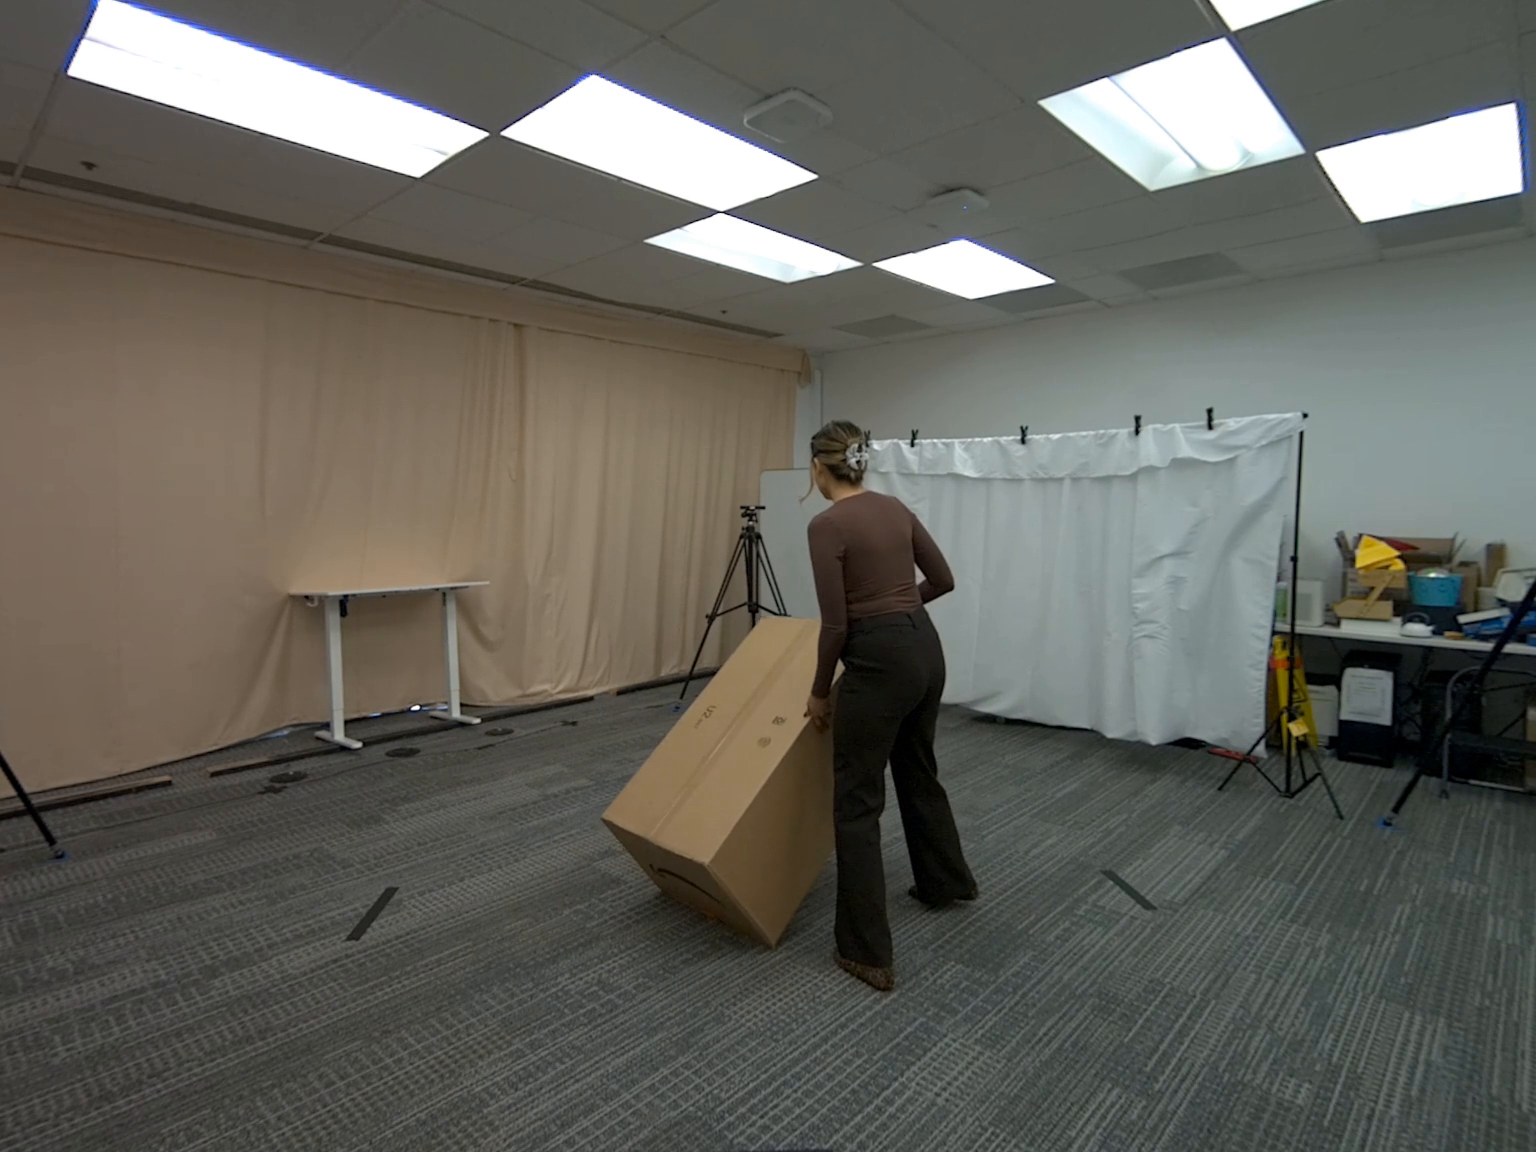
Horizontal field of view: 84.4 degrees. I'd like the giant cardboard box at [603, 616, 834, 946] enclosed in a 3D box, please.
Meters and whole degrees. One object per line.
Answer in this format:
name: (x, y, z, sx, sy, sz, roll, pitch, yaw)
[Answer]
giant cardboard box: (0.004, 0.663, 3.005, 0.603, 0.436, 1.020, 0, 41, 48)
